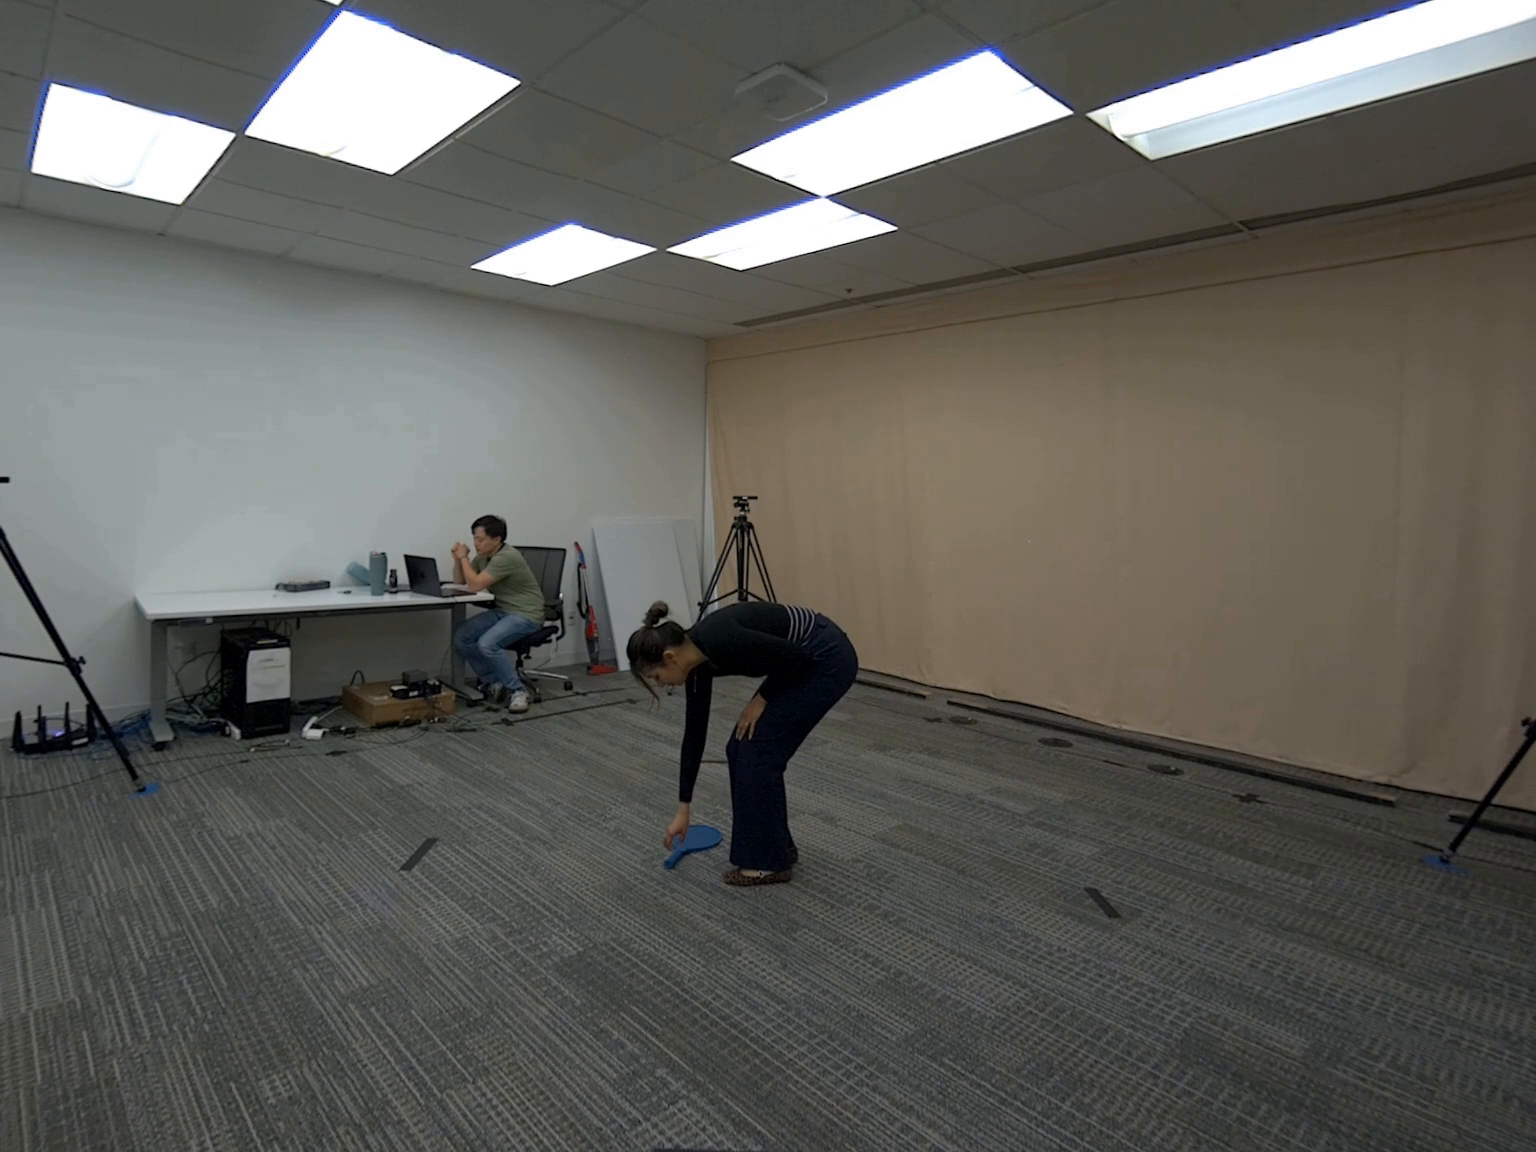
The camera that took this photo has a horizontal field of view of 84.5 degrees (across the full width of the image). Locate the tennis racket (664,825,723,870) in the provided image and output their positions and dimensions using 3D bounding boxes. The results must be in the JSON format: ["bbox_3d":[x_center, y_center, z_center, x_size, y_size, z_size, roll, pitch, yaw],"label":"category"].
[{"bbox_3d":[-0.317,1.063,3.340,0.216,0.032,0.429,3,4,13],"label":"tennis racket"}]
